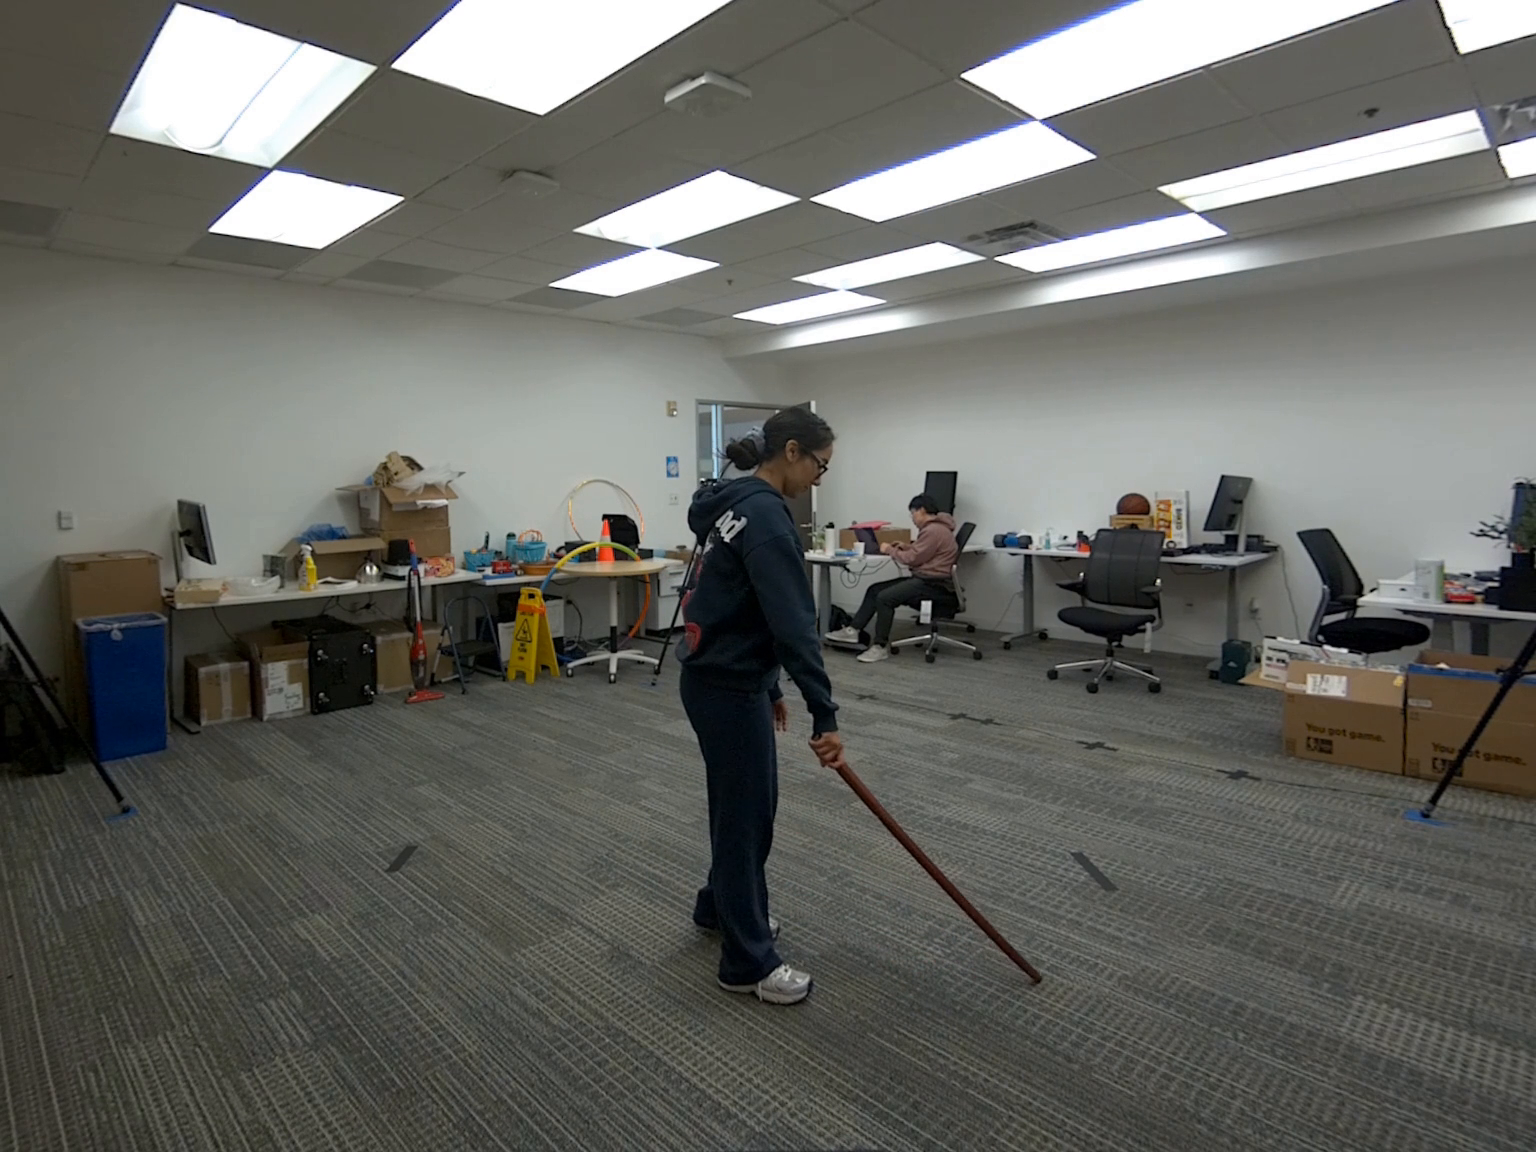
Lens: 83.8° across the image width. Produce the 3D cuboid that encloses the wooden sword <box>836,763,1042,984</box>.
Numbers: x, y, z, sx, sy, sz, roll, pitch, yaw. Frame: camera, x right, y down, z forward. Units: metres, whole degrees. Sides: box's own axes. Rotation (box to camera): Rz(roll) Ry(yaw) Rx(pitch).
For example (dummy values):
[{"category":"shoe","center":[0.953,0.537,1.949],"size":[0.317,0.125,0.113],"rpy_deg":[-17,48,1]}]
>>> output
[{"category":"wooden sword","center":[0.425,0.754,2.226],"size":[0.024,1.002,0.052],"rpy_deg":[-39,18,13]}]
